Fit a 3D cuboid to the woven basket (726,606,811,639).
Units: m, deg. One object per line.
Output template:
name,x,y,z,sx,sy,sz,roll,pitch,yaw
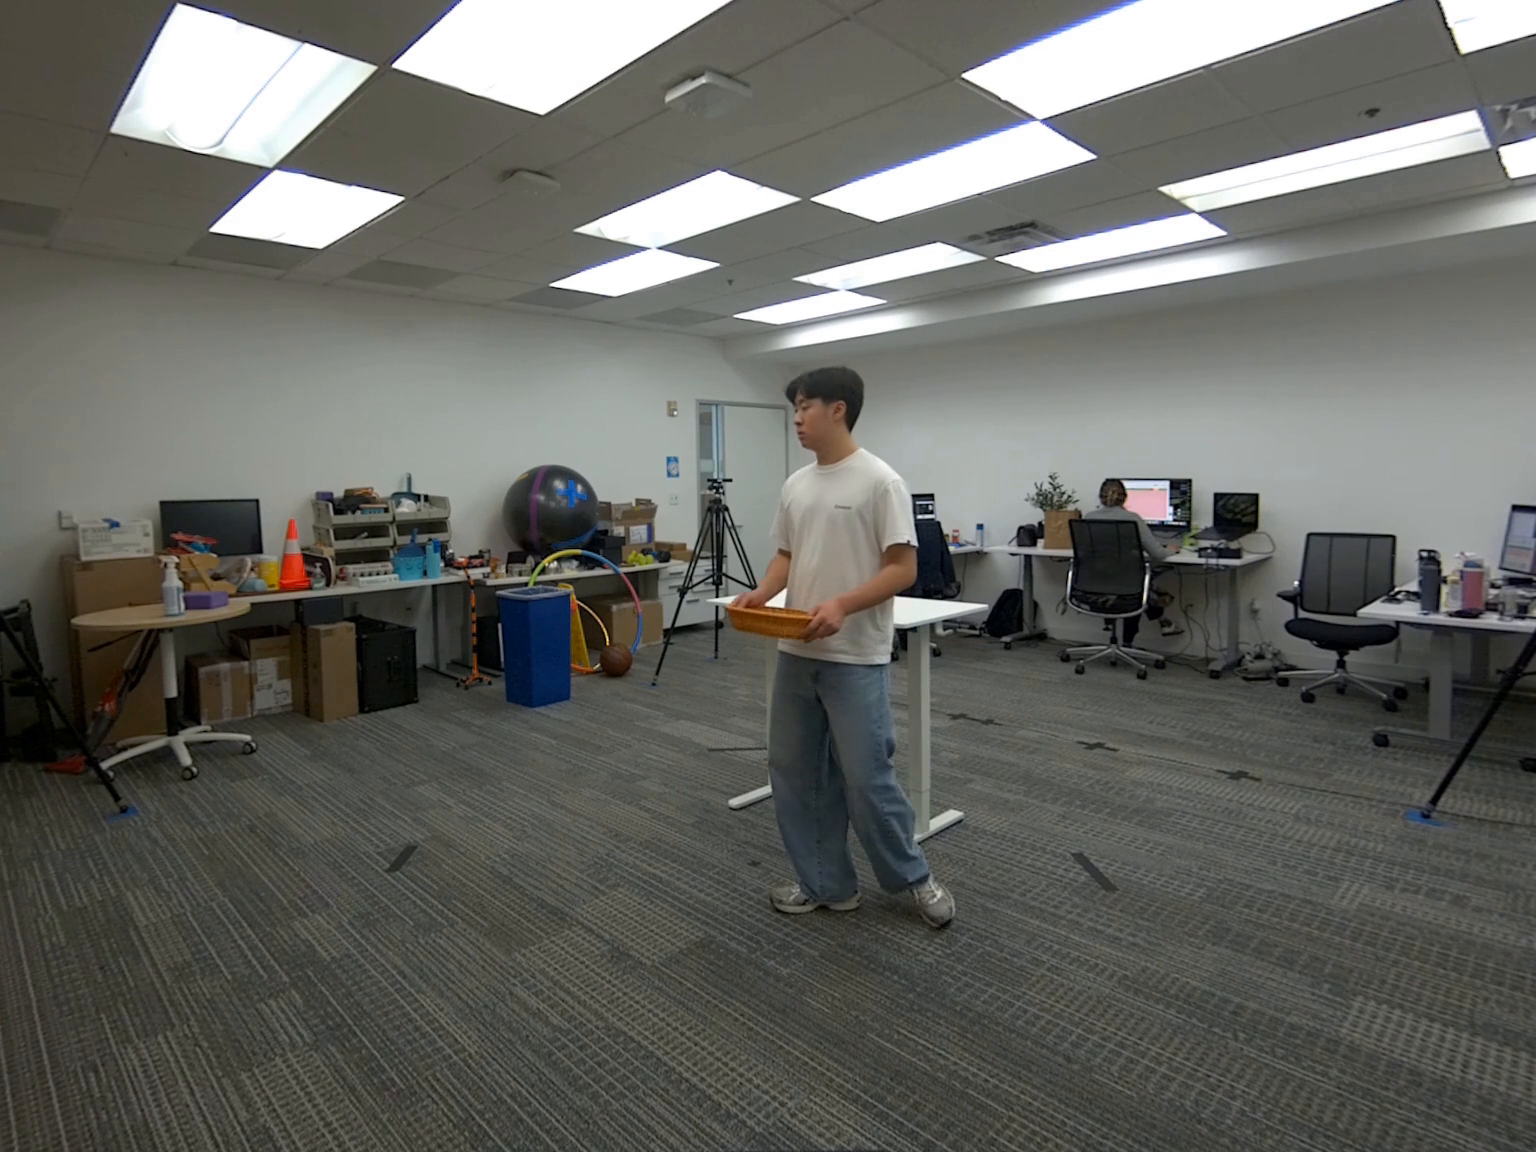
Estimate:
woven basket,0.076,0.141,2.540,0.246,0.073,0.360,2,2,-32
